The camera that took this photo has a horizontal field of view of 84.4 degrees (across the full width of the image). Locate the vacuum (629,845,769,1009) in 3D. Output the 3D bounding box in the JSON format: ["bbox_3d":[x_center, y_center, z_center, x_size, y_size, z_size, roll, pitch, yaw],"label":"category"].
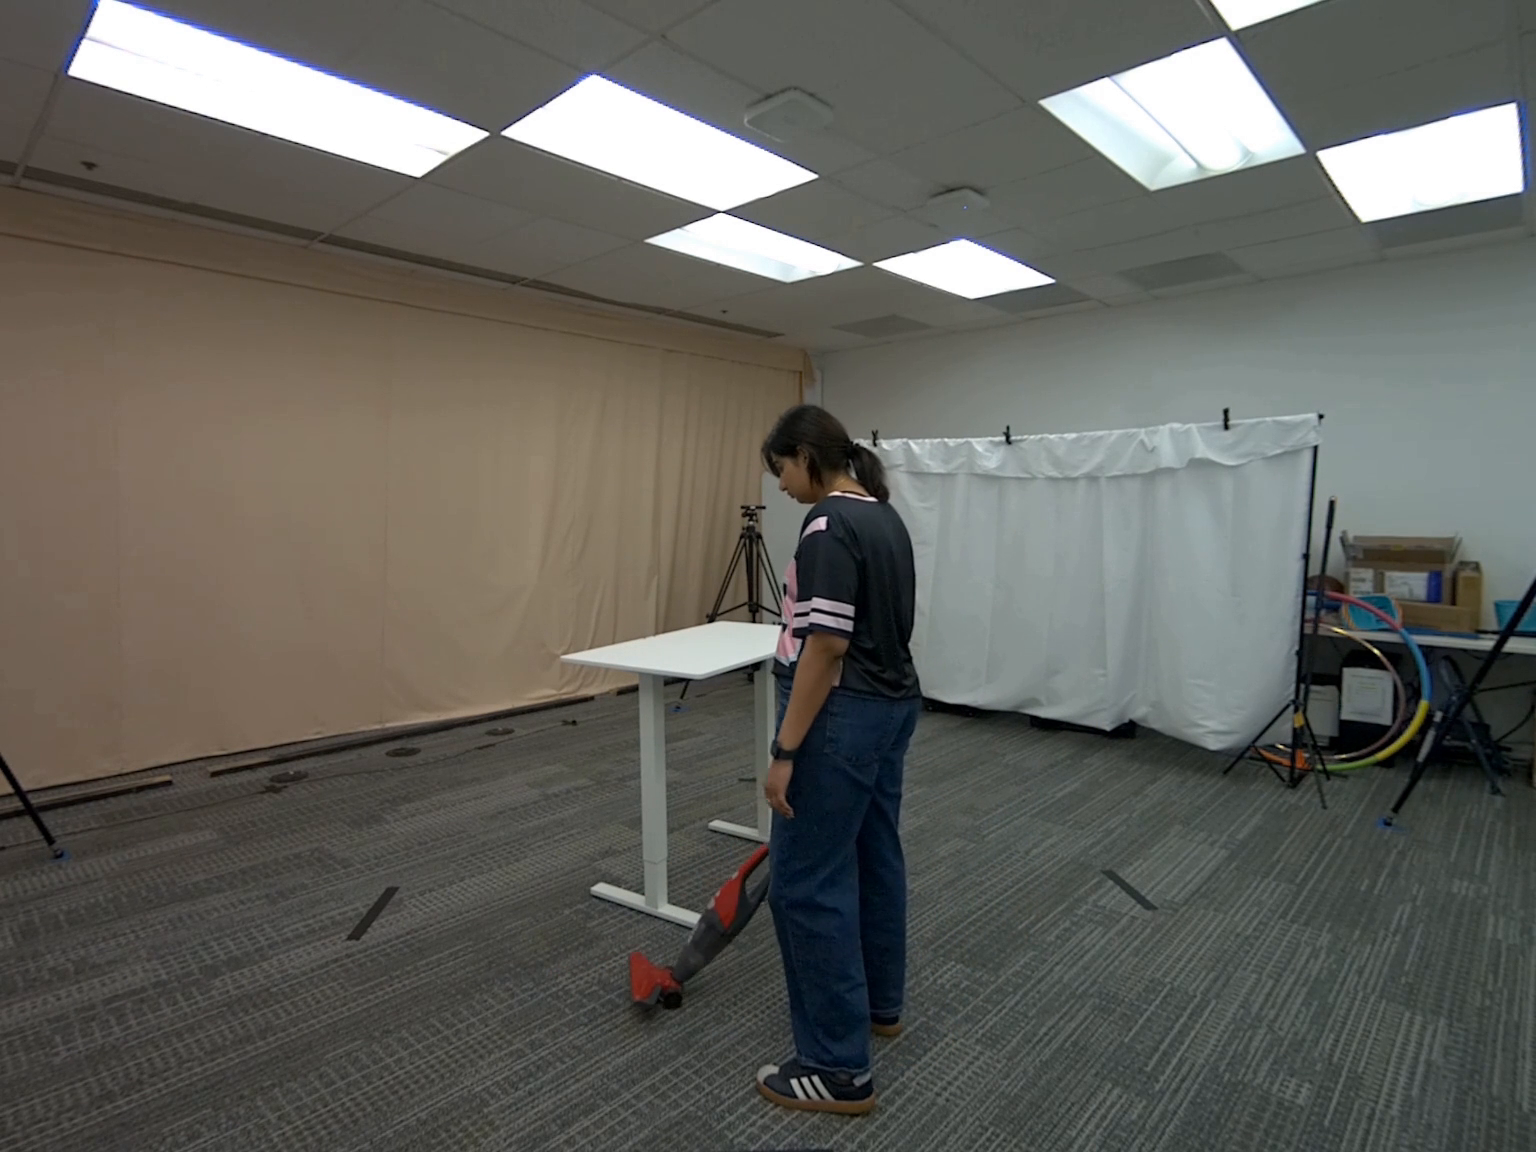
[{"bbox_3d":[0.034,0.807,2.421,1.047,0.143,0.255,-45,9,-6],"label":"vacuum"}]
